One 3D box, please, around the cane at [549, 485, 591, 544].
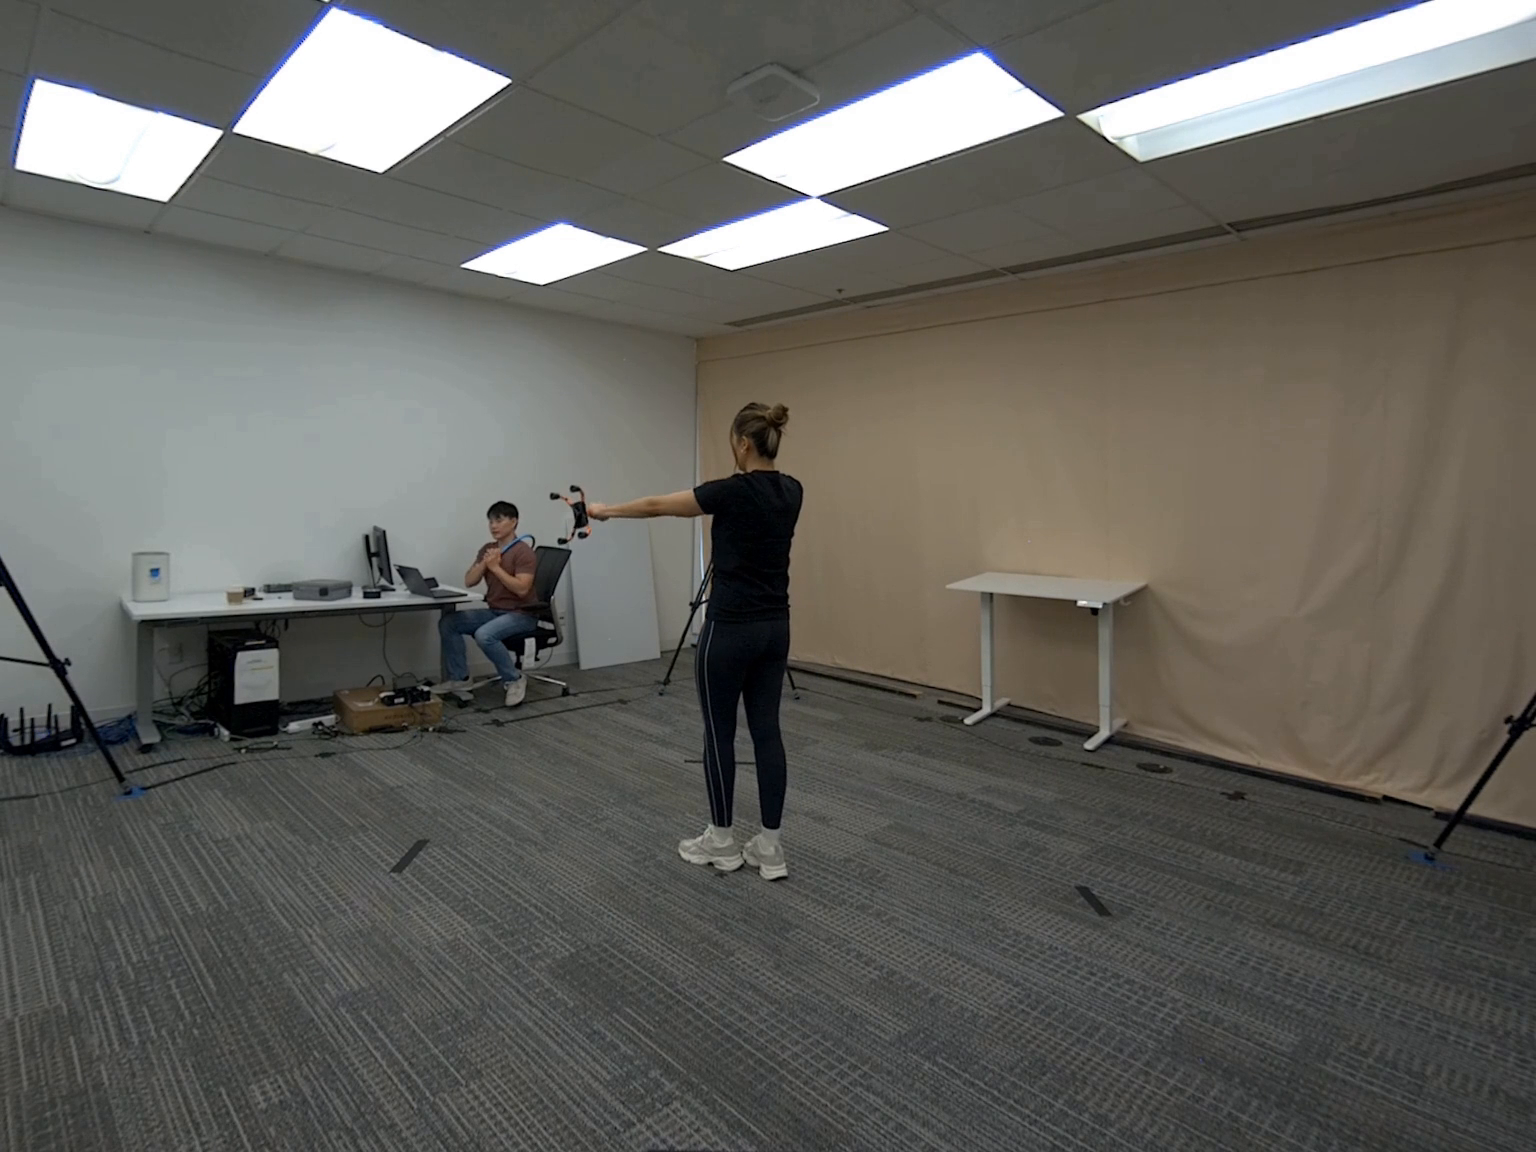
[{"bbox_3d":[-0.484,-0.276,3.520,0.154,0.207,0.889,-13,-3,39],"label":"cane"}]
